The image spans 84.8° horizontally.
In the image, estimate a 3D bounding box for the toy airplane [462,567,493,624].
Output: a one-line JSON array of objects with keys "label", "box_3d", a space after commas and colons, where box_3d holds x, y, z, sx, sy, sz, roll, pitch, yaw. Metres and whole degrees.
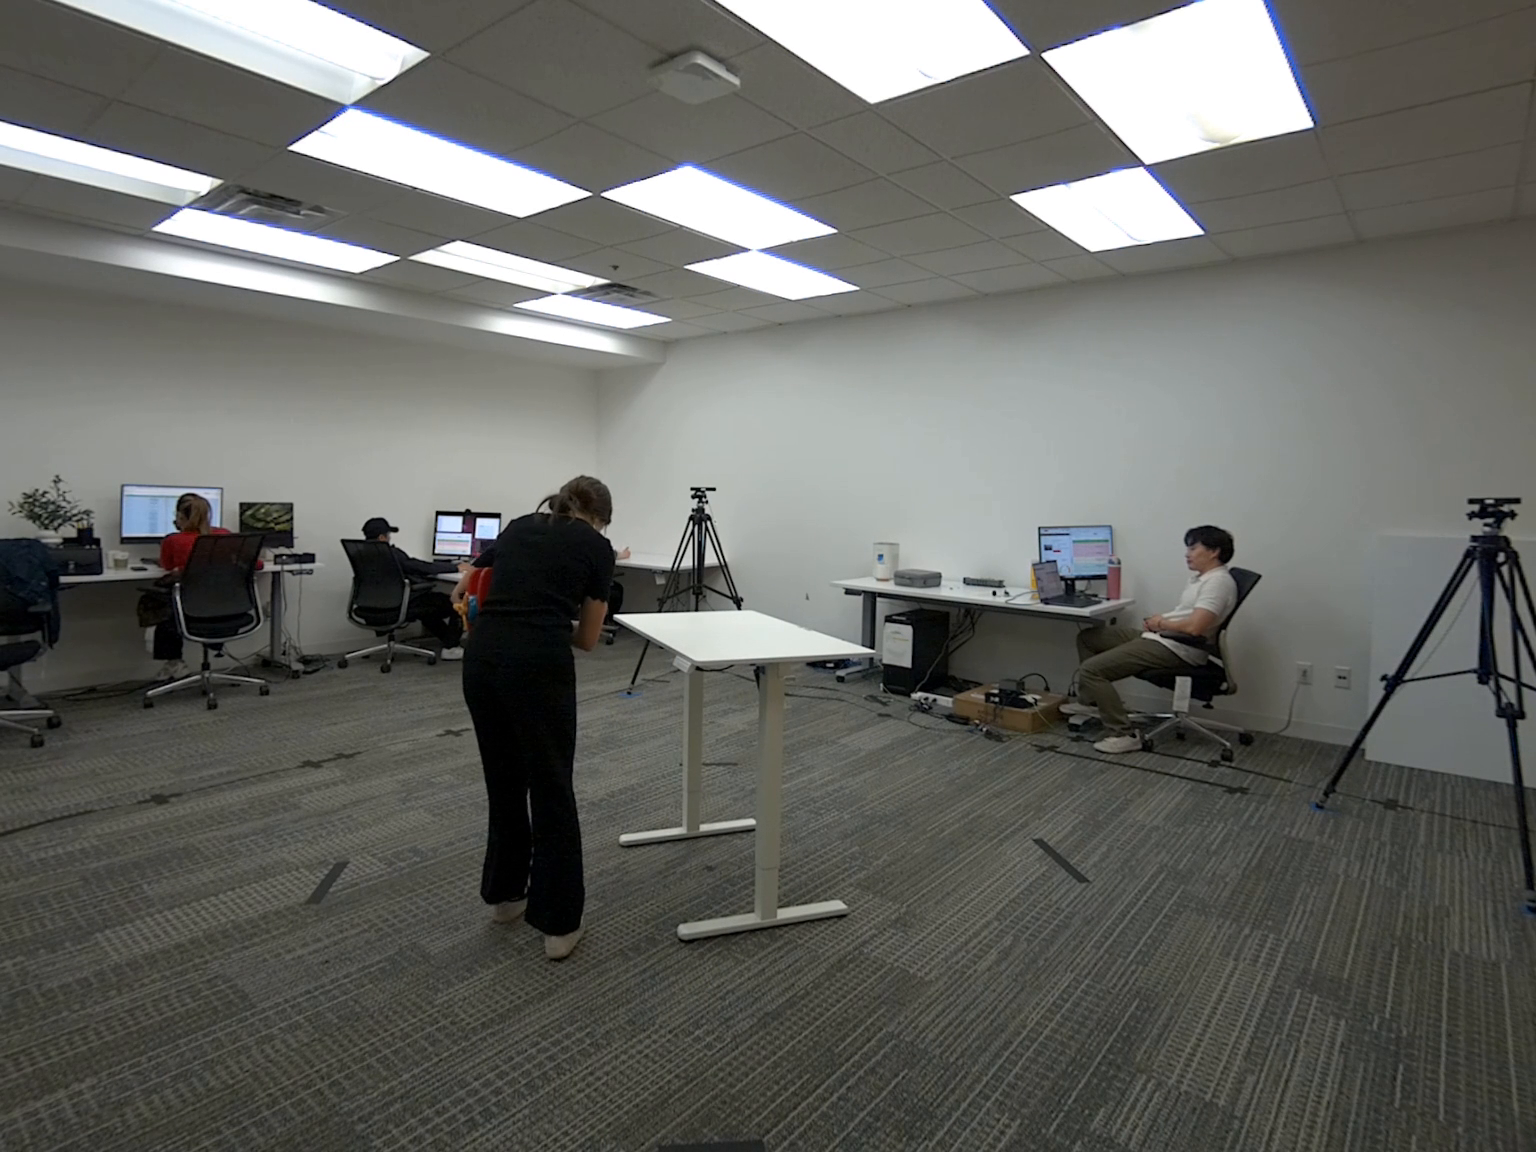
[{"label": "toy airplane", "box_3d": [-0.888, 0.080, 2.723, 0.257, 0.246, 0.161, -33, 17, -28]}]
